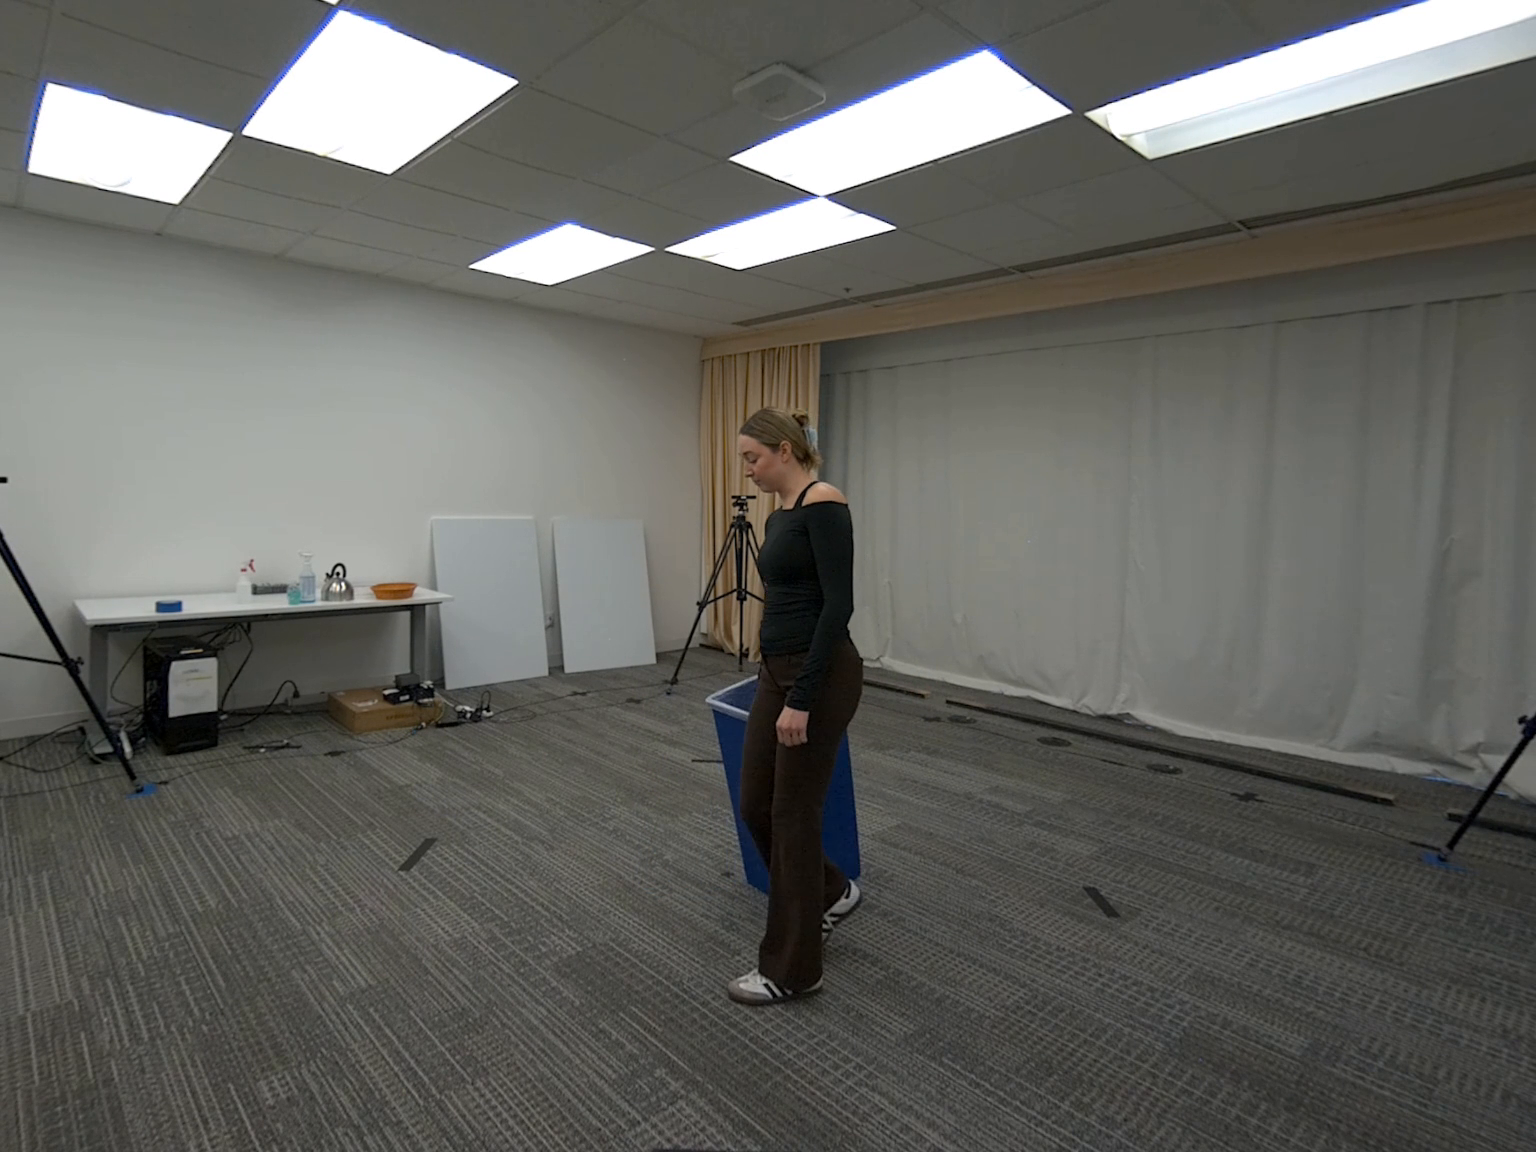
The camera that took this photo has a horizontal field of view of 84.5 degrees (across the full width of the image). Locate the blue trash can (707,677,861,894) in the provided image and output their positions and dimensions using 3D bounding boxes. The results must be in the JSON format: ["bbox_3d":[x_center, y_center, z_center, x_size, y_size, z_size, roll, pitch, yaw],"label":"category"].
[{"bbox_3d":[0.065,0.741,2.942,0.368,0.707,0.387,-16,13,-38],"label":"blue trash can"}]
